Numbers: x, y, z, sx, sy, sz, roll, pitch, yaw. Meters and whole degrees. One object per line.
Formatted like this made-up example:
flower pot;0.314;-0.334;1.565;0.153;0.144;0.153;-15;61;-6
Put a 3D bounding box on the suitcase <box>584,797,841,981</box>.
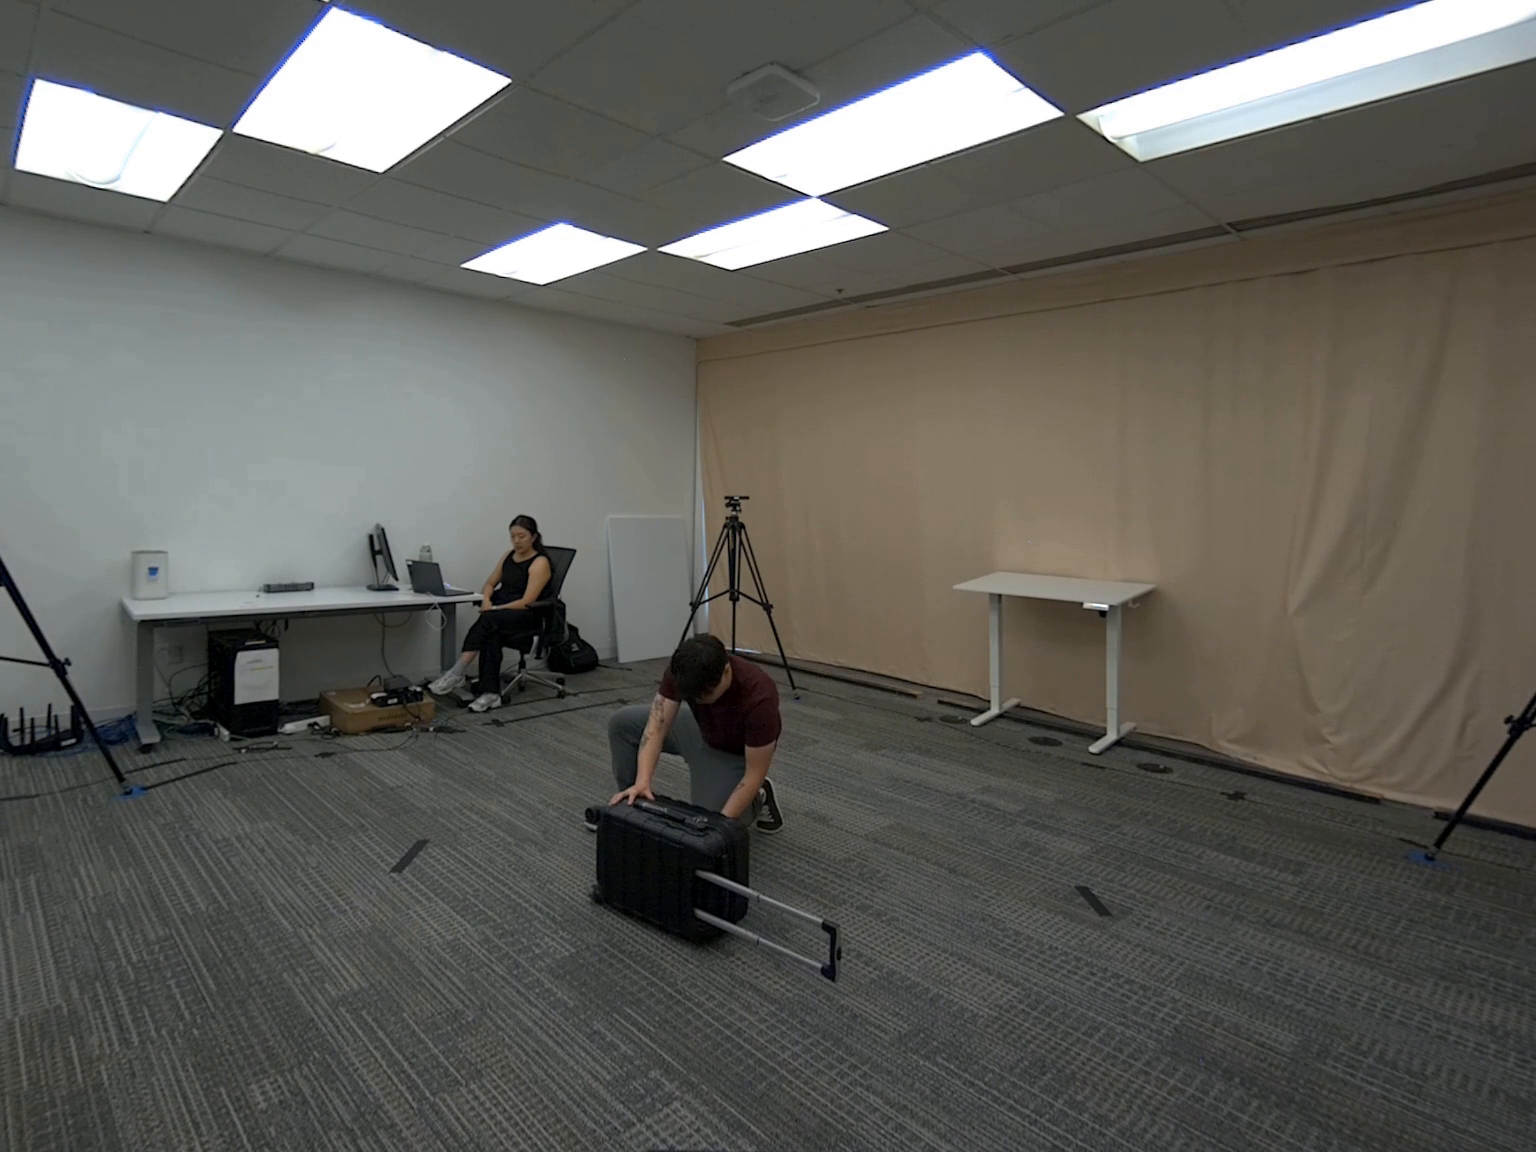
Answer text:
suitcase;-0.167;0.960;2.645;1.003;0.382;0.252;5;8;37
